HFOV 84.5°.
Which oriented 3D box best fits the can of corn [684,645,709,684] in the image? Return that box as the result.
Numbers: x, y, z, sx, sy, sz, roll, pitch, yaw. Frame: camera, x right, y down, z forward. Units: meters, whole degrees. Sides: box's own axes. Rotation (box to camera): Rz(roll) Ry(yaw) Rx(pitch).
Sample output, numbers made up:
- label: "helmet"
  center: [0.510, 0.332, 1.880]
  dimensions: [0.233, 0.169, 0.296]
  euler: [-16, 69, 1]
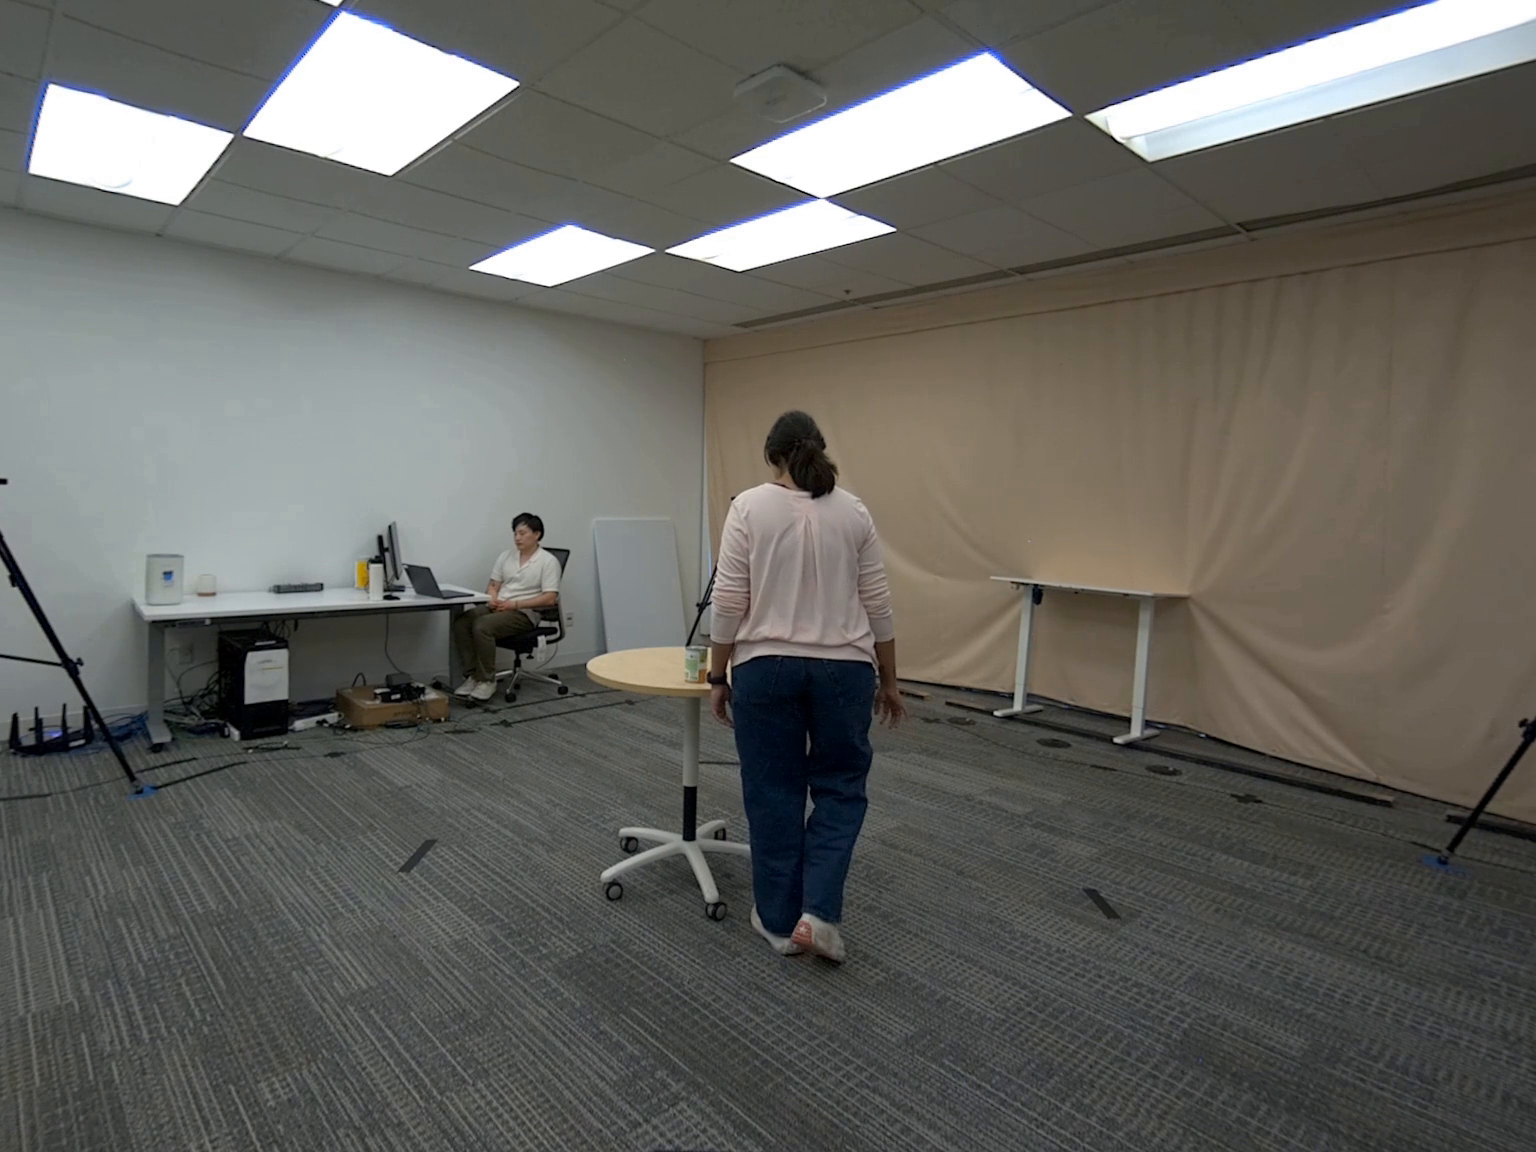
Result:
- label: "can of corn"
  center: [-0.248, 0.295, 2.783]
  dimensions: [0.074, 0.111, 0.074]
  euler: [3, 4, -2]
